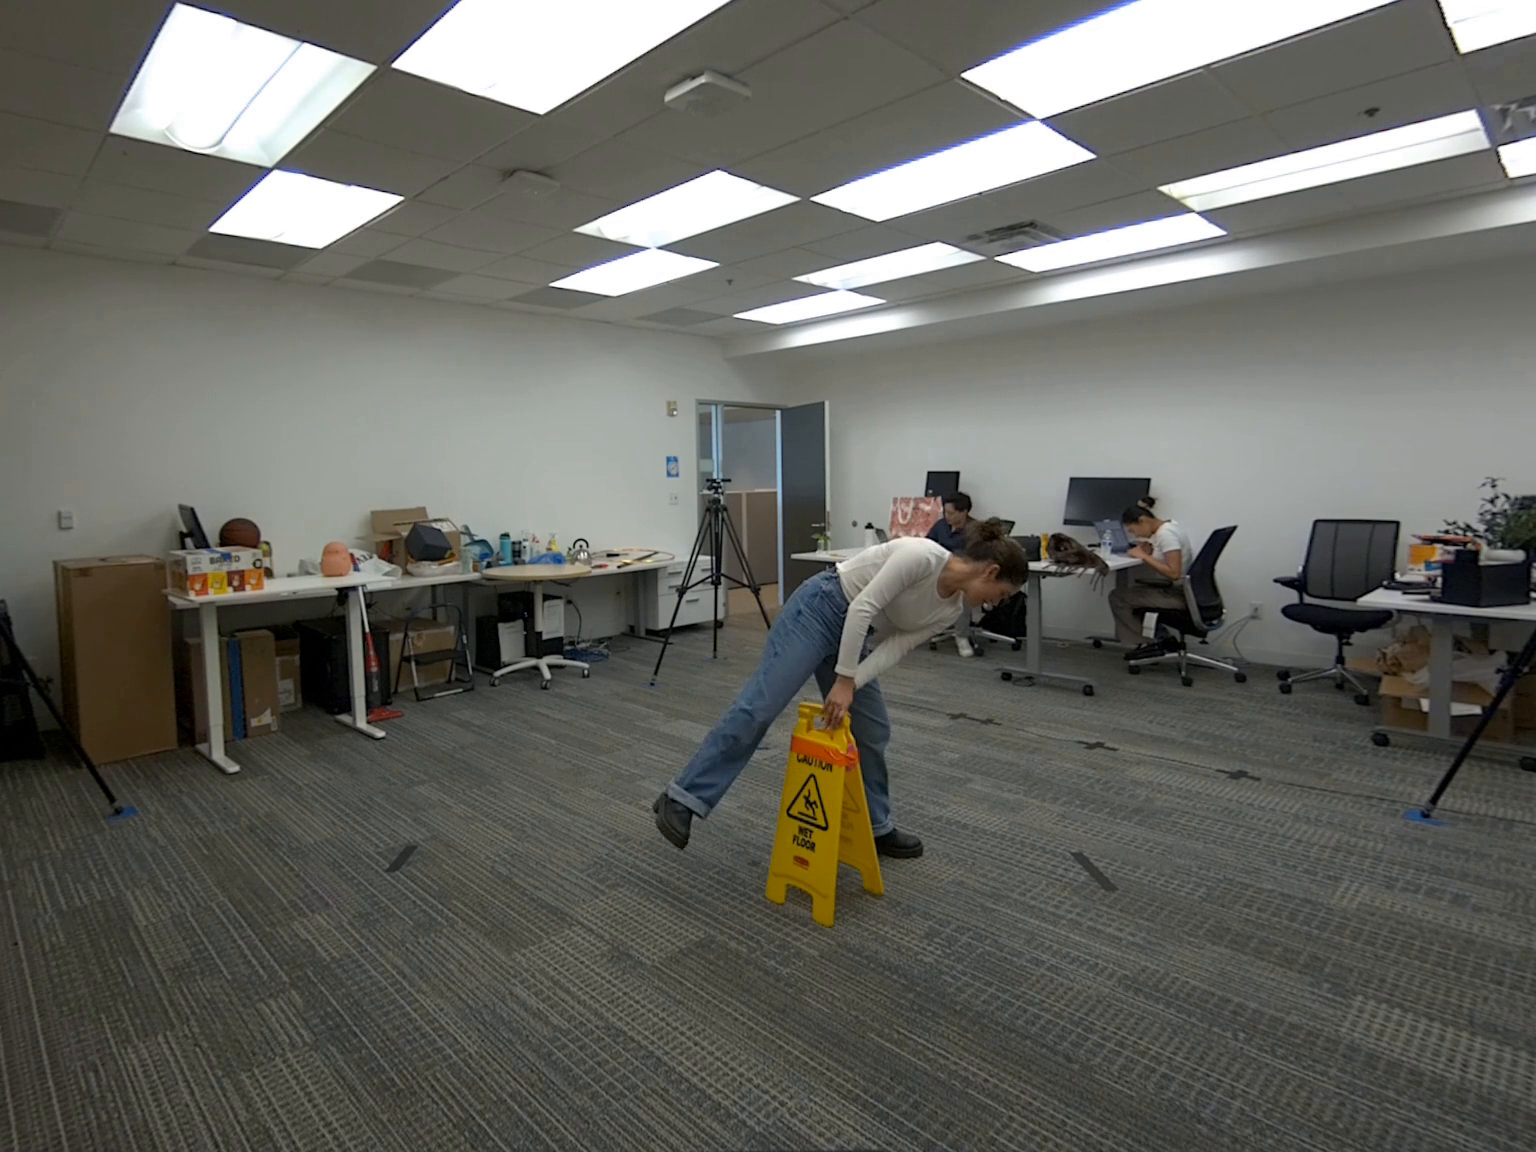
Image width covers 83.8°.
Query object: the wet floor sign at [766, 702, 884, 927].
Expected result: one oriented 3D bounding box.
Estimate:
[{"bbox_3d":[0.184,0.750,2.824,0.291,0.643,0.282,3,6,44],"label":"wet floor sign"}]
